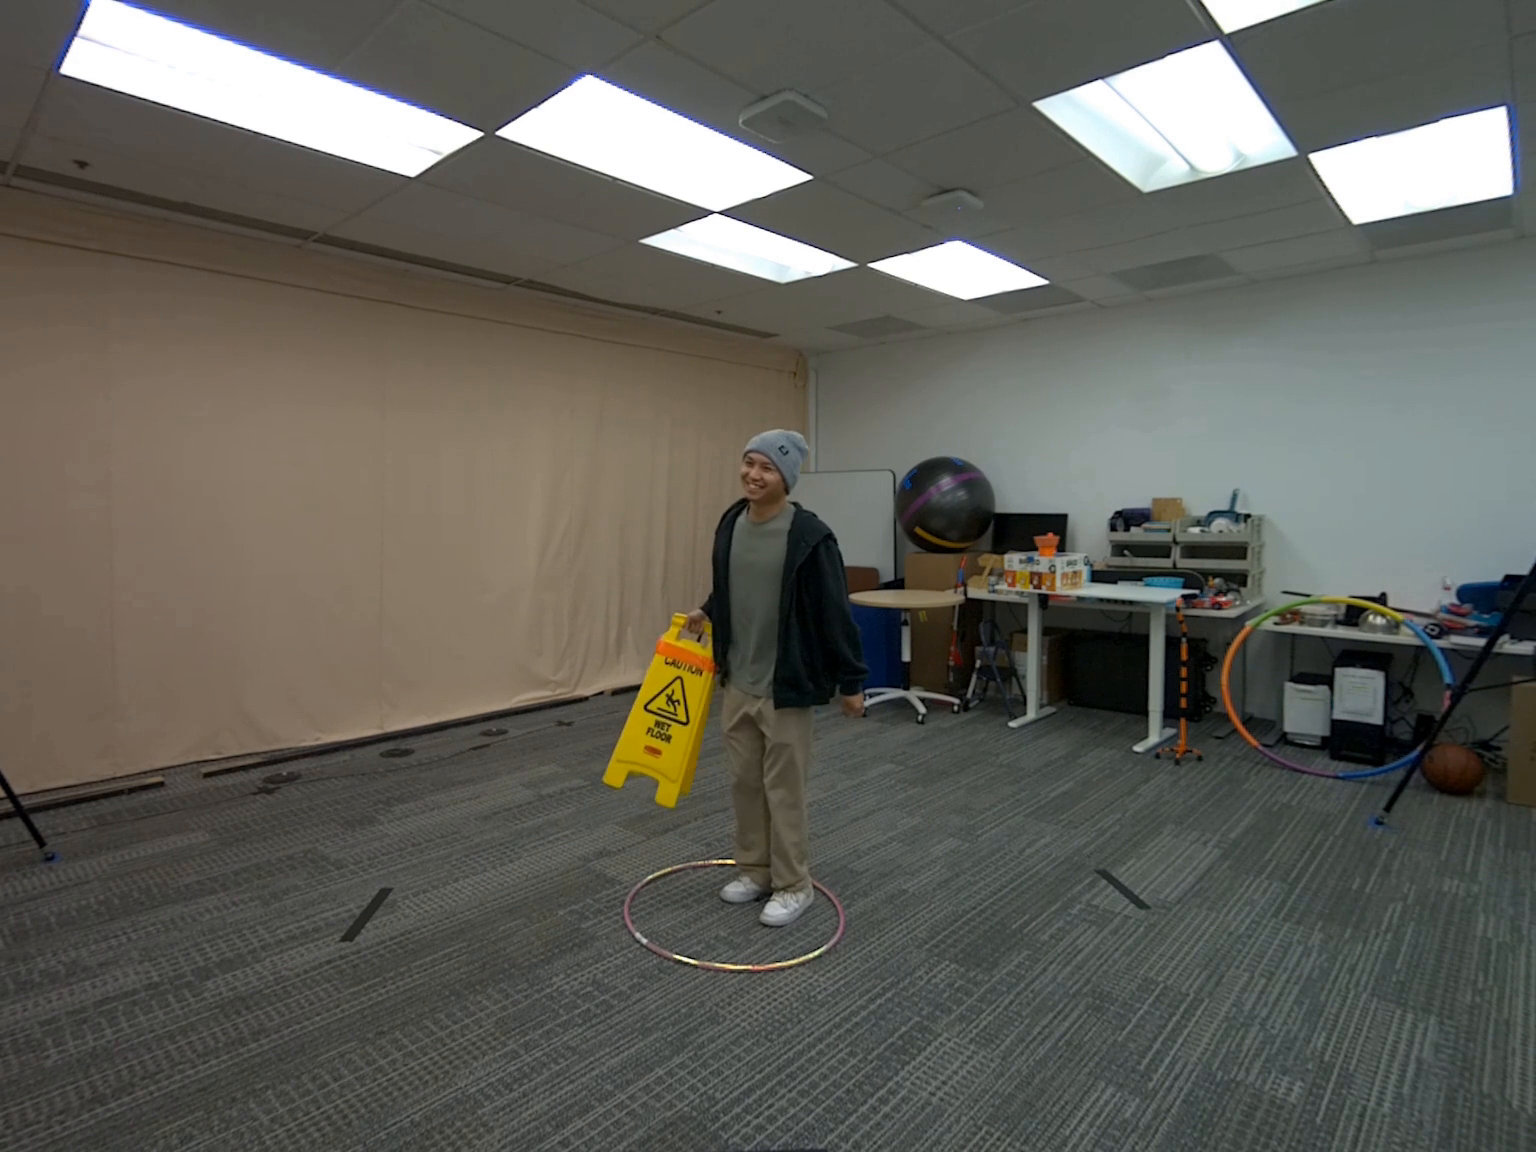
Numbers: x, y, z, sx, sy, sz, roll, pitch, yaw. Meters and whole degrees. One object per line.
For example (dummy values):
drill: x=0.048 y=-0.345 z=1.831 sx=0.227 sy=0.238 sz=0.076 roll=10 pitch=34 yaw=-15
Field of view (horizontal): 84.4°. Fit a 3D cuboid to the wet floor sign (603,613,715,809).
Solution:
wet floor sign: x=-0.347 y=0.478 z=3.112 sx=0.286 sy=0.646 sz=0.286 roll=16 pitch=-2 yaw=9
